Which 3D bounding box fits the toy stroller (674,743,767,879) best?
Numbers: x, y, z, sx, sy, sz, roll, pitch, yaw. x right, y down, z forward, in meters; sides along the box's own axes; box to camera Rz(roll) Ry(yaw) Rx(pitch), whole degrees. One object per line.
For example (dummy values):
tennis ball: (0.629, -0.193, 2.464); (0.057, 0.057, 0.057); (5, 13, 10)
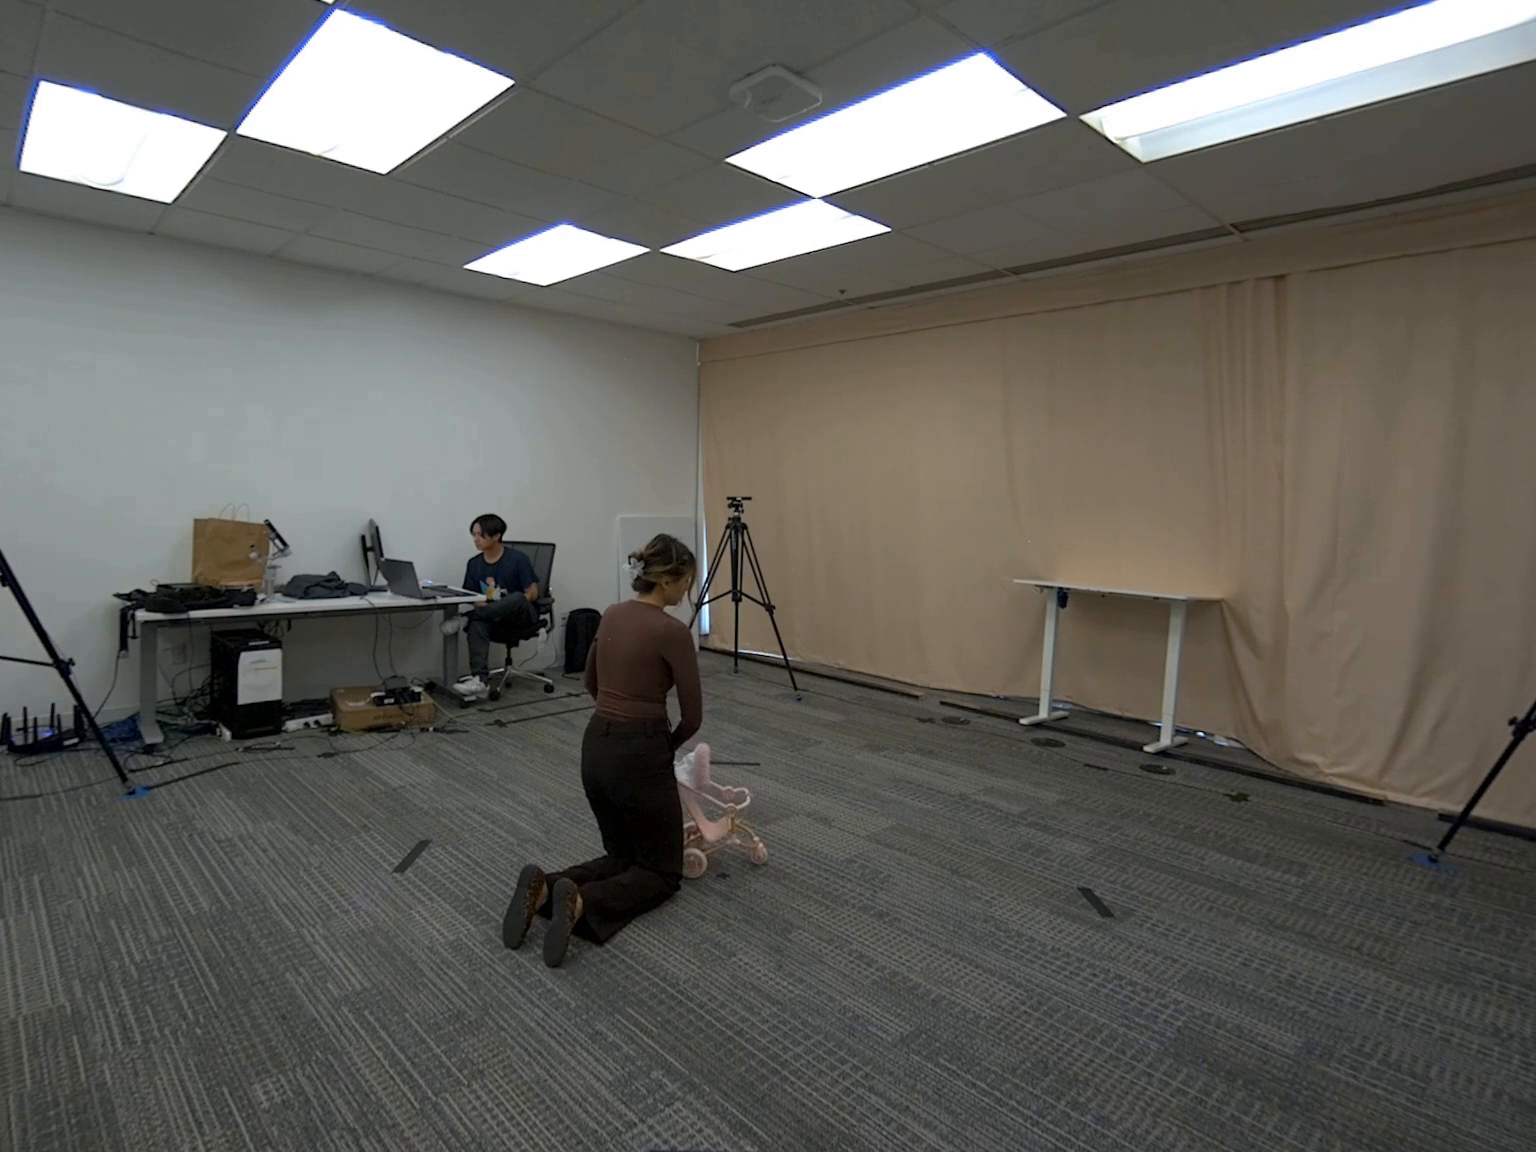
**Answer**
toy stroller: (-0.224, 0.873, 3.192); (0.342, 0.534, 0.282); (-16, 2, 2)
